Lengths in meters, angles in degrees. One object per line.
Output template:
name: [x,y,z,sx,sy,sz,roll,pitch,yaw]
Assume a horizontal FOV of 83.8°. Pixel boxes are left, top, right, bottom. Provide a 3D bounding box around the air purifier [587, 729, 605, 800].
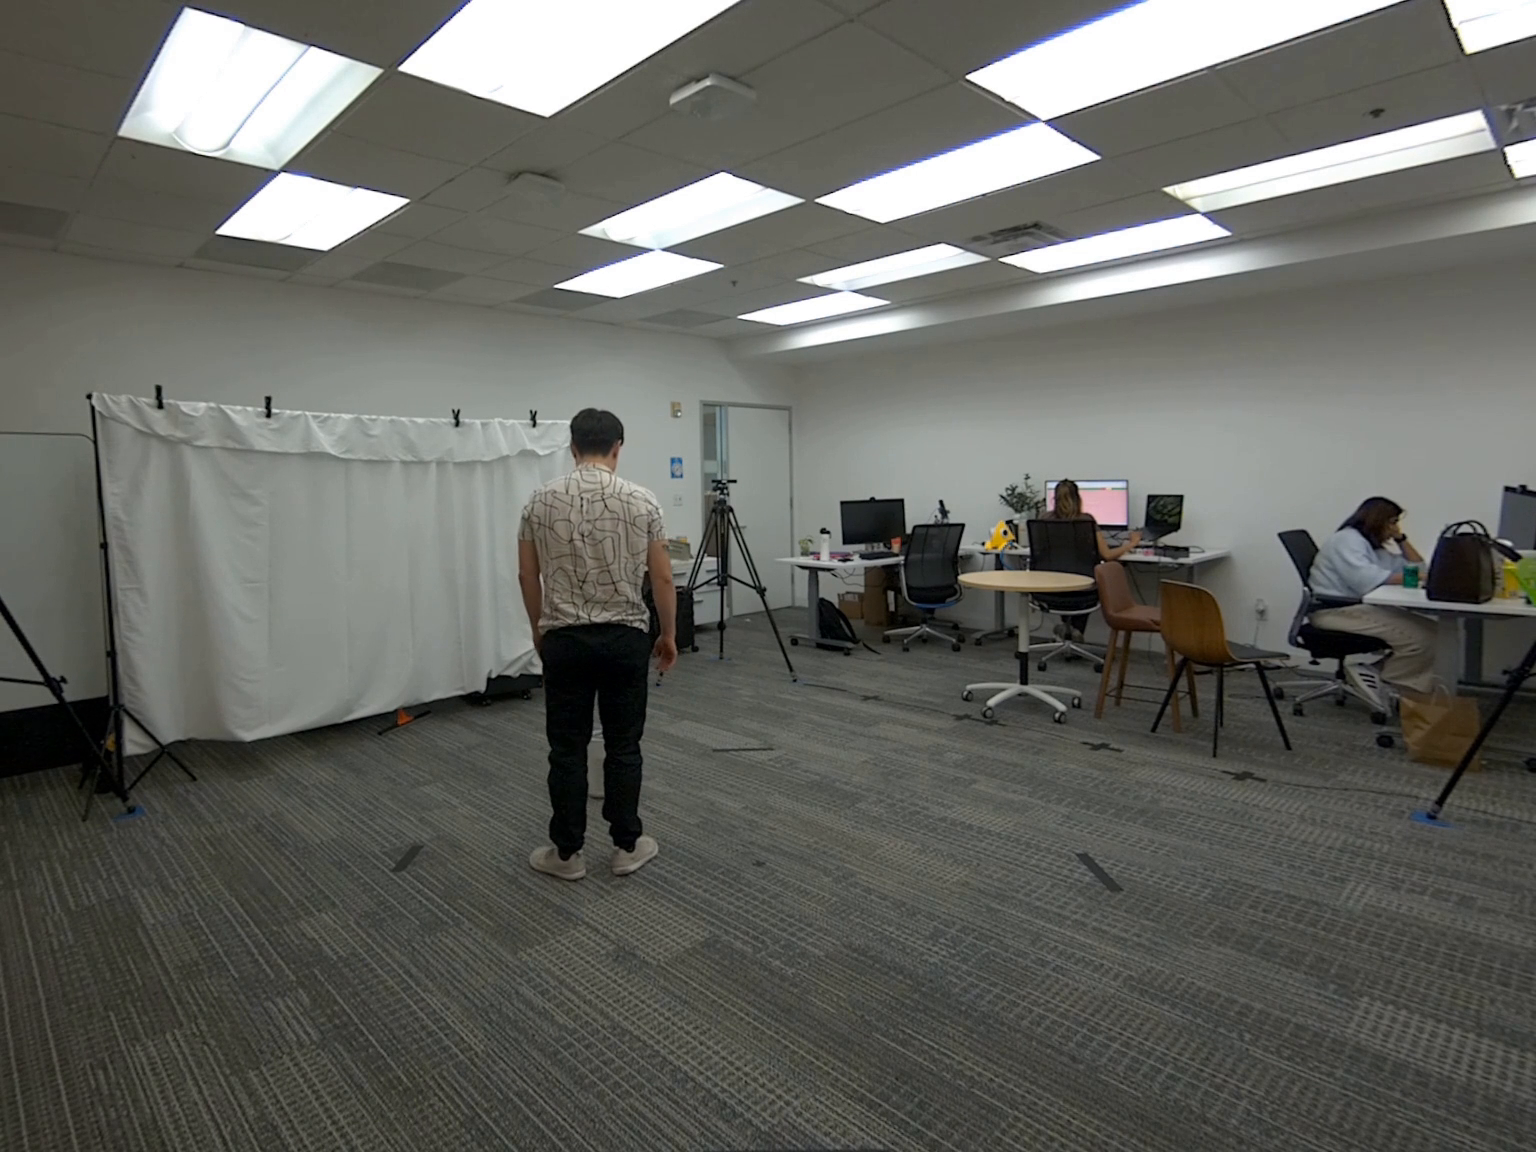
air purifier: [-0.721,0.846,3.857,0.171,0.265,0.172,-1,3,-3]
